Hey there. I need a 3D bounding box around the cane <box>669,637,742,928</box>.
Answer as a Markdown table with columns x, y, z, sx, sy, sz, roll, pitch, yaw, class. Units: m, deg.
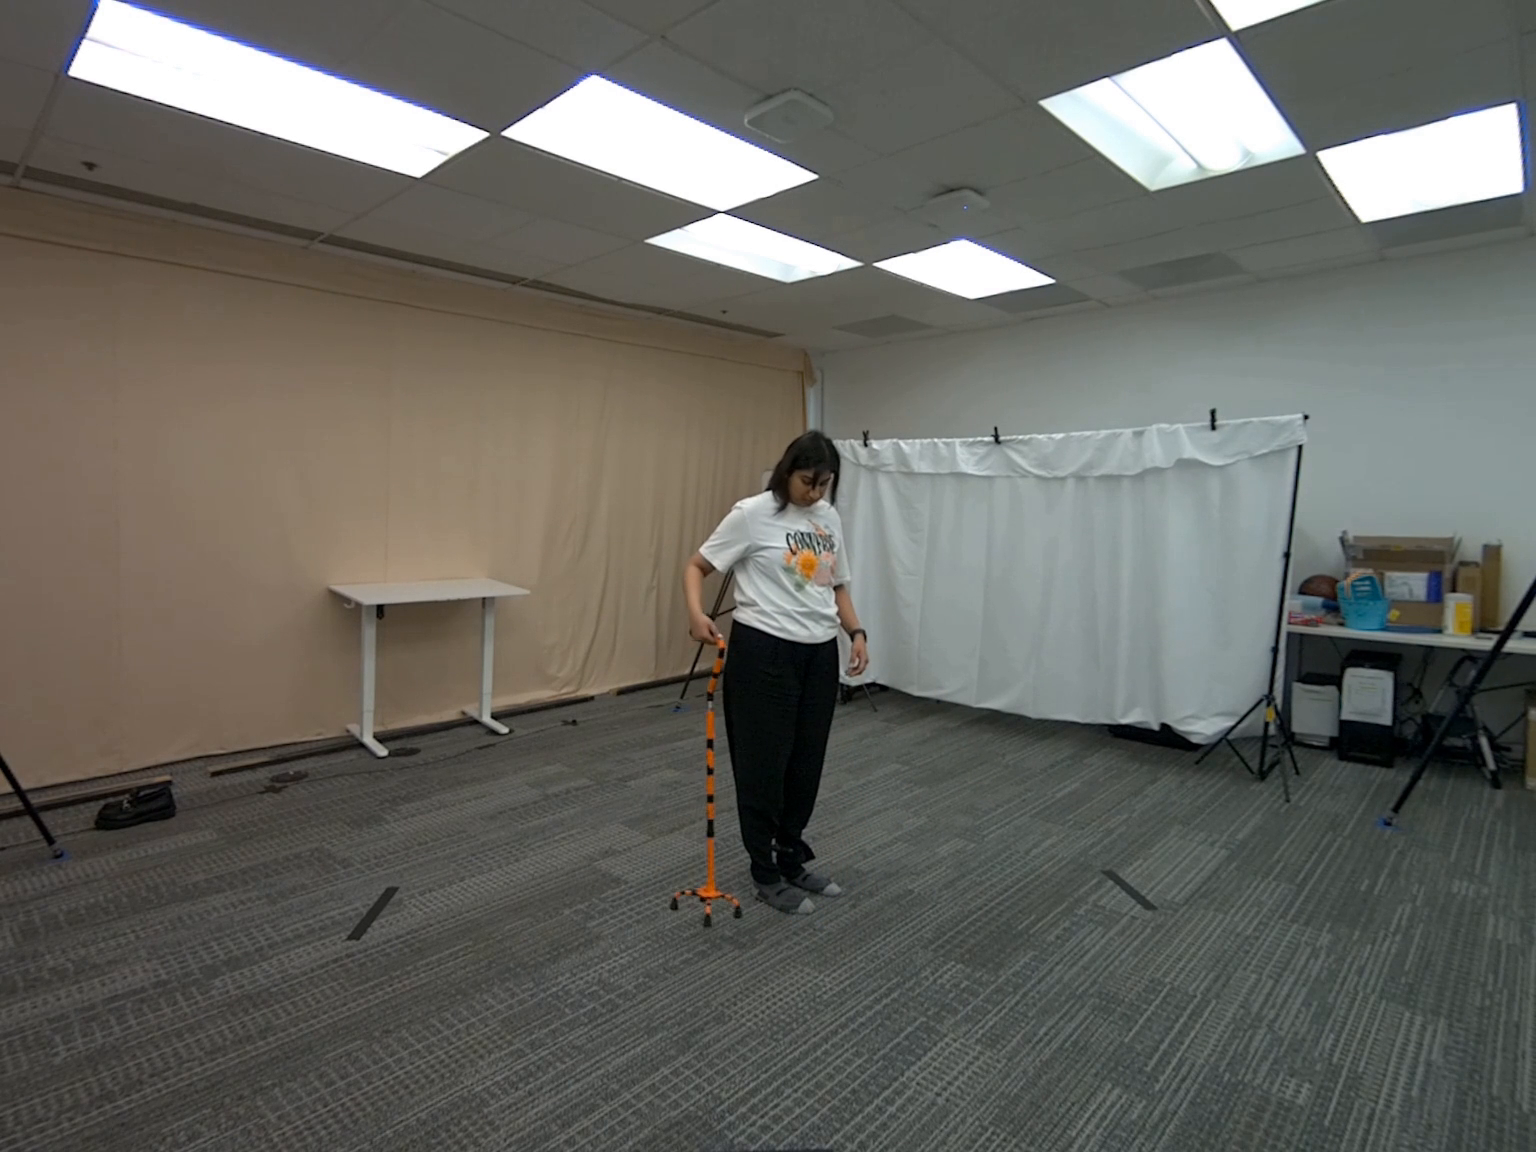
| x | y | z | sx | sy | sz | roll | pitch | yaw | class |
| --- | --- | --- | --- | --- | --- | --- | --- | --- | --- |
| -0.198 | 0.632 | 2.729 | 0.147 | 0.909 | 0.213 | 2 | -2 | -43 | cane |
